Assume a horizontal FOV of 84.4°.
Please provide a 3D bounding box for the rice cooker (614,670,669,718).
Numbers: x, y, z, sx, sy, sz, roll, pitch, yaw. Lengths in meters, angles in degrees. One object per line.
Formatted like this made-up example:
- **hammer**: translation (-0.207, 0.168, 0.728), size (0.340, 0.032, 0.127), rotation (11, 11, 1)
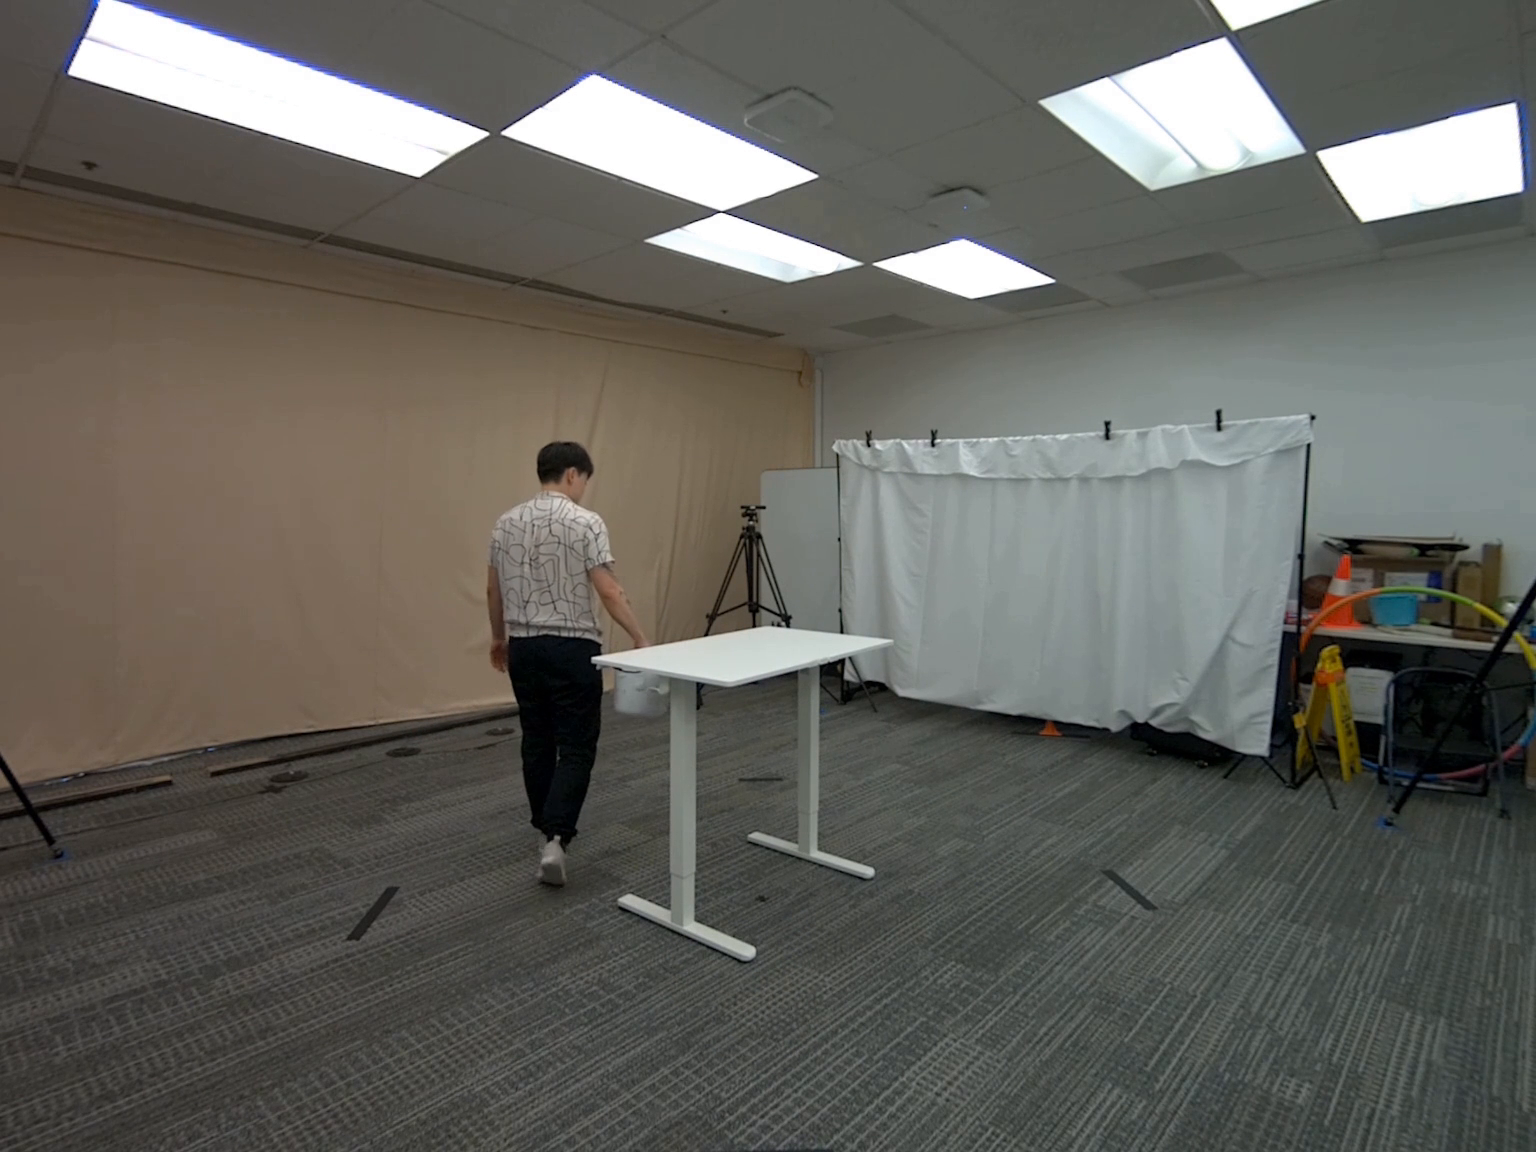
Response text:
- **rice cooker**: translation (-0.498, 0.423, 3.313), size (0.217, 0.232, 0.221), rotation (0, 4, -1)
